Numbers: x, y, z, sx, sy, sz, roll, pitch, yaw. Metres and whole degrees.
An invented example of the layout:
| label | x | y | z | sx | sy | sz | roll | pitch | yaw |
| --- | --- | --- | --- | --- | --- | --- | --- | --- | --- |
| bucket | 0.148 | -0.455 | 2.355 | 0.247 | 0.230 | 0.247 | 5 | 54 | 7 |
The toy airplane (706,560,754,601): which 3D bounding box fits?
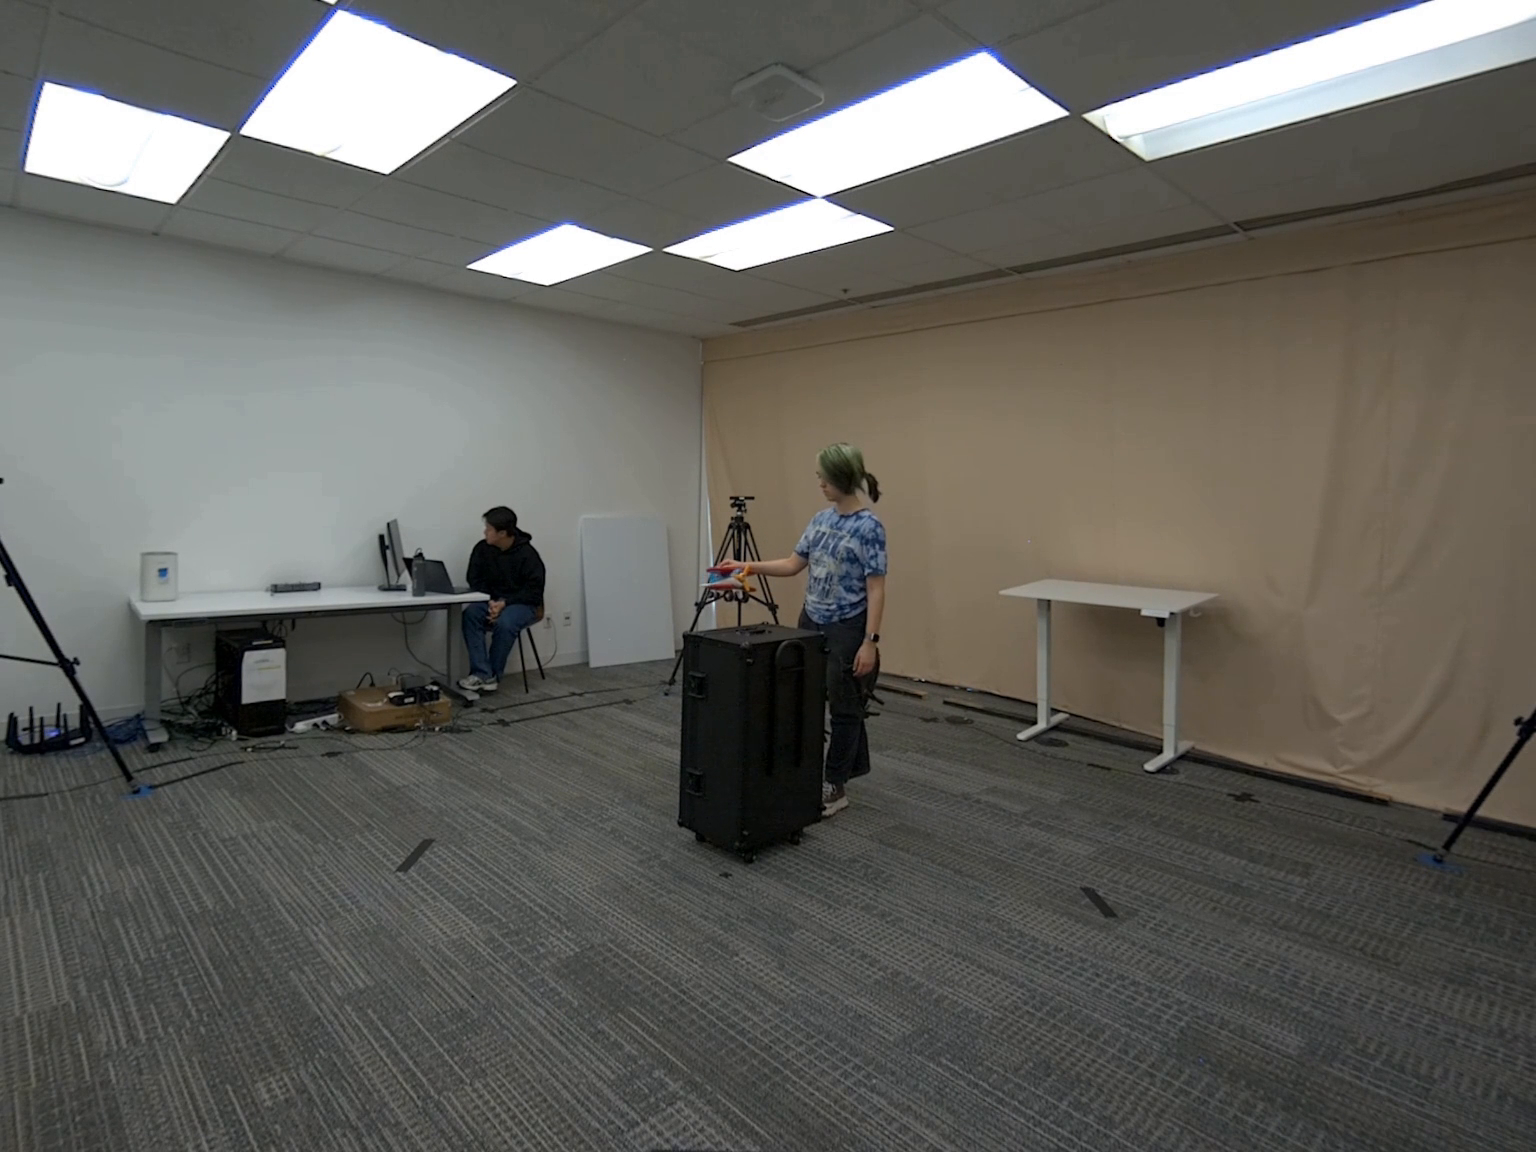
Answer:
| label | x | y | z | sx | sy | sz | roll | pitch | yaw |
| --- | --- | --- | --- | --- | --- | --- | --- | --- | --- |
| toy airplane | -0.212 | 0.034 | 3.828 | 0.264 | 0.156 | 0.246 | 7 | 1 | 24 |
